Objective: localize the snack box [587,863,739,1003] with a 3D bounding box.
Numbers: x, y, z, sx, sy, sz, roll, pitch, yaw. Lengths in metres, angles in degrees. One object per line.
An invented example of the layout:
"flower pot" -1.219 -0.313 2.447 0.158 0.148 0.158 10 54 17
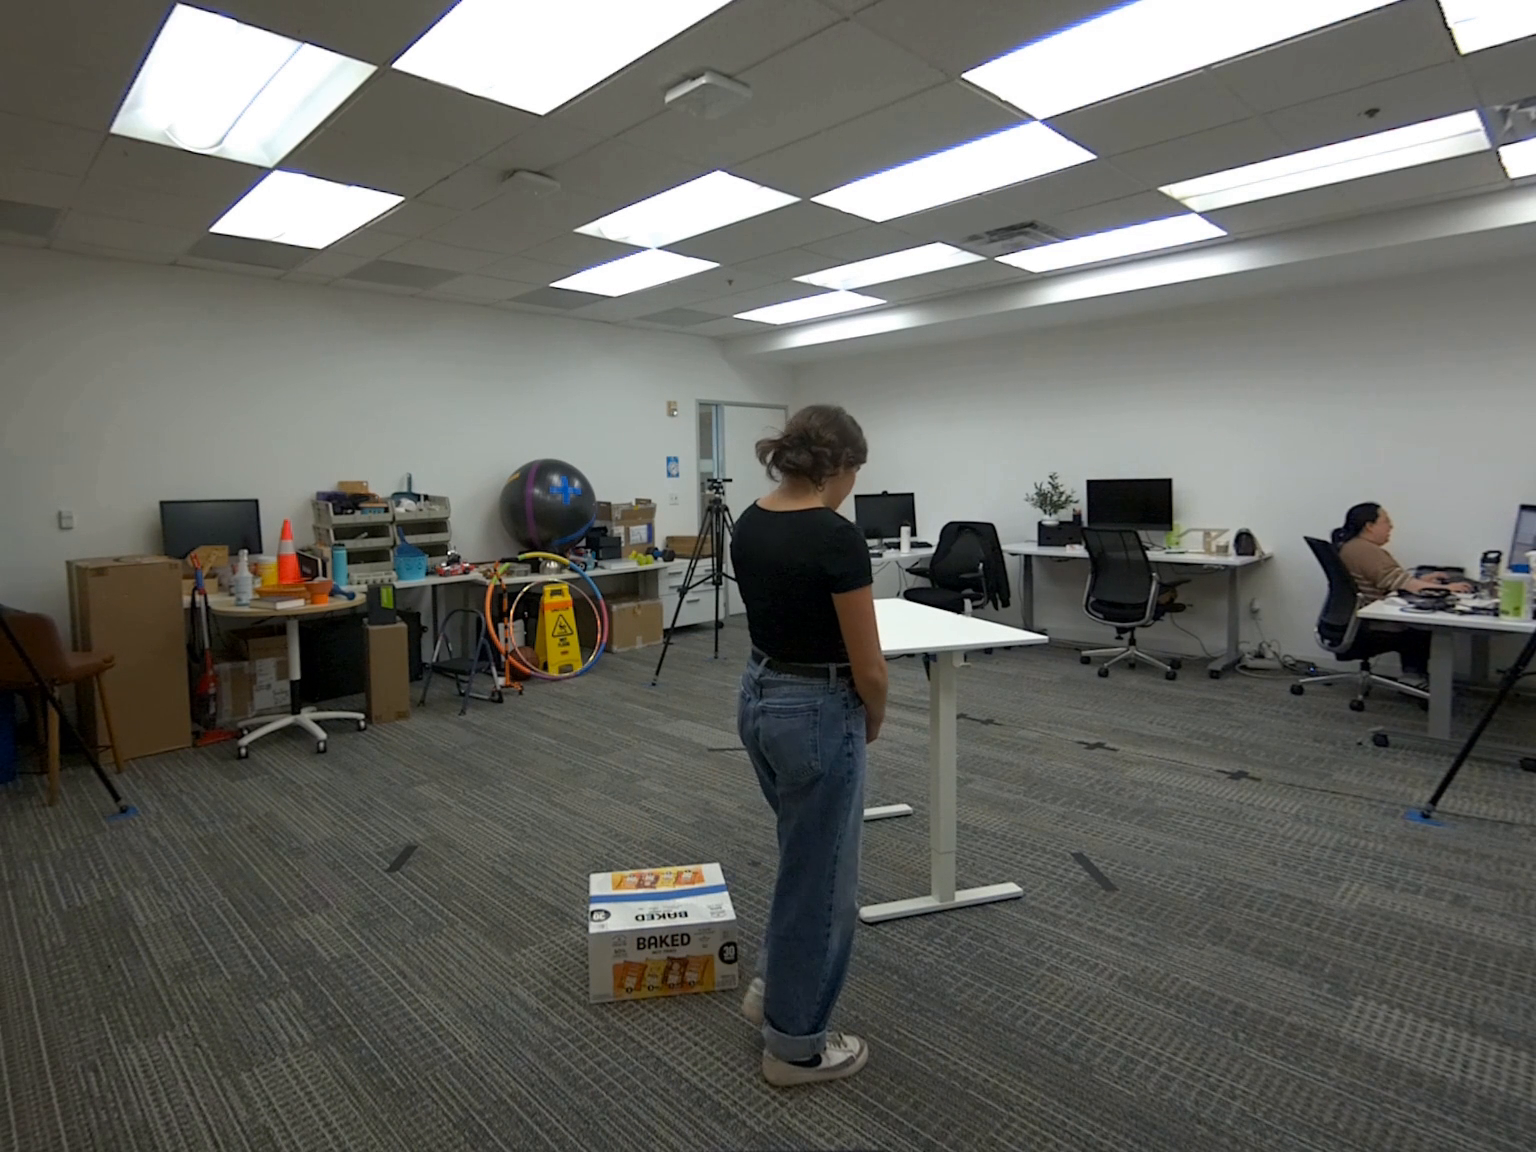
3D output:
"snack box" -0.307 1.024 2.470 0.402 0.205 0.345 -2 6 -10
